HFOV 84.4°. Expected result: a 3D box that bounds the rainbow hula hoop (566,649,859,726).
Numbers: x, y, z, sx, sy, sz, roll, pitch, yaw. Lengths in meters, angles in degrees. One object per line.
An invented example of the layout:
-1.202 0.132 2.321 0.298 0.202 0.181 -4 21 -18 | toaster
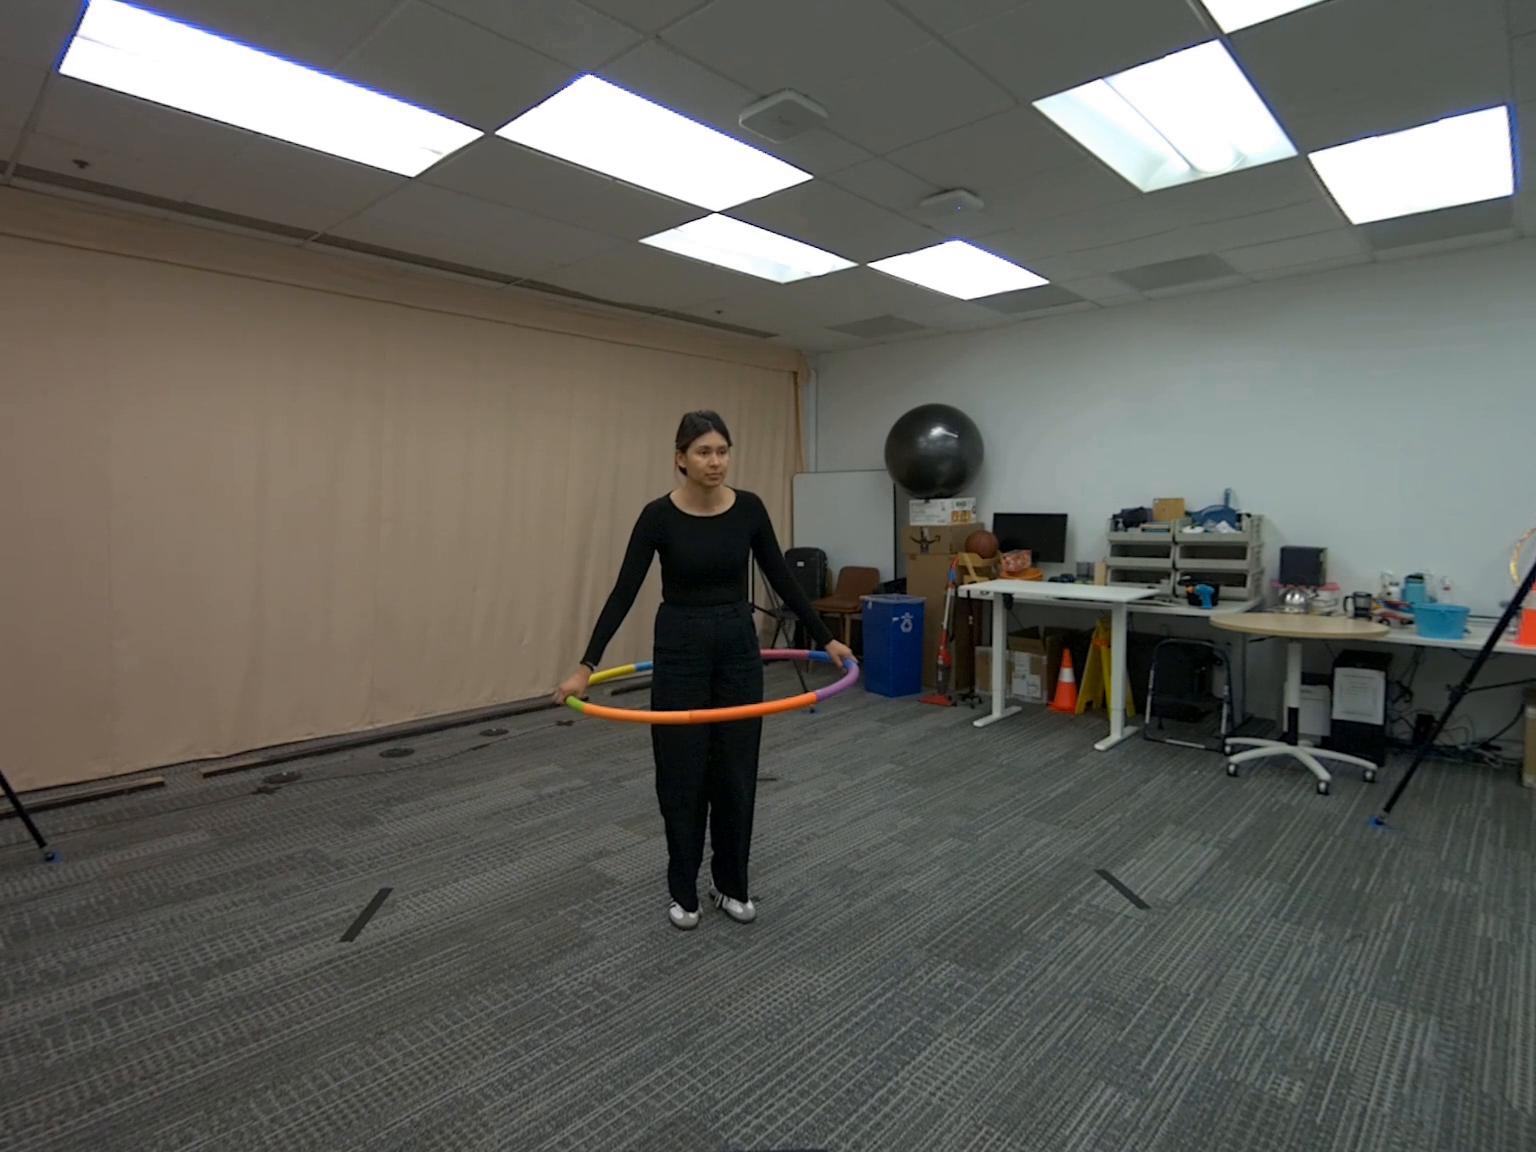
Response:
-0.190 0.350 2.810 0.978 0.035 0.982 -6 4 -2 | rainbow hula hoop
